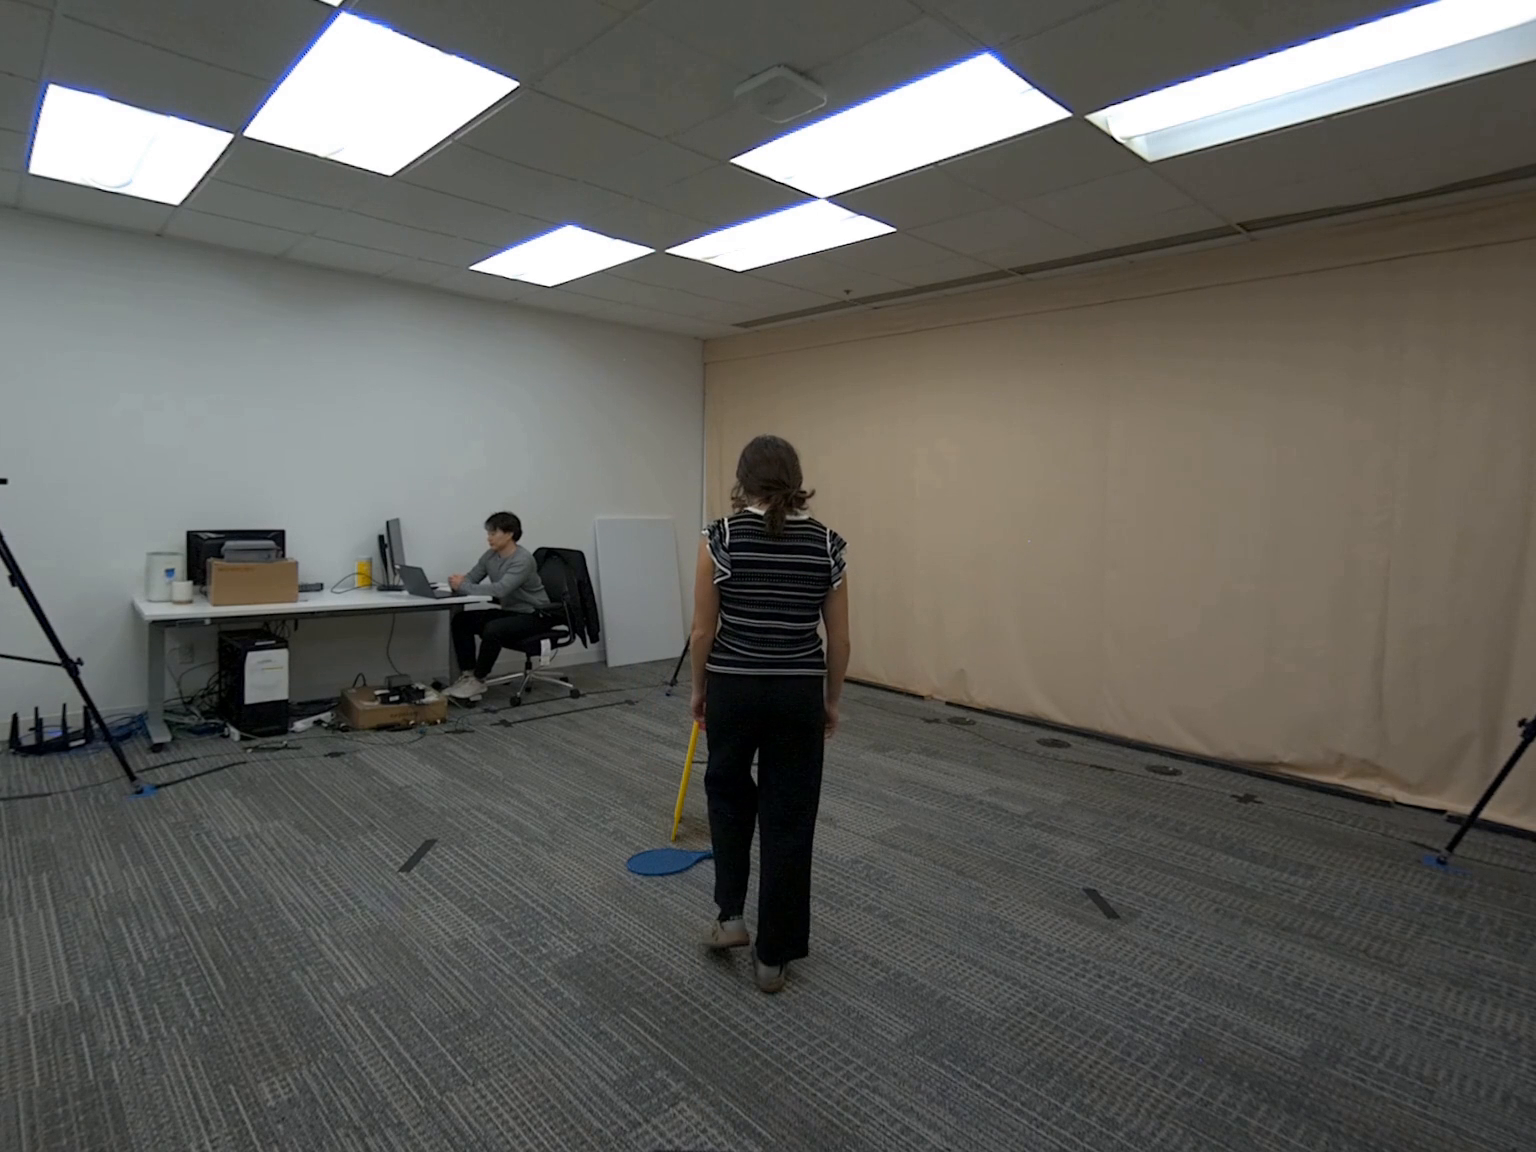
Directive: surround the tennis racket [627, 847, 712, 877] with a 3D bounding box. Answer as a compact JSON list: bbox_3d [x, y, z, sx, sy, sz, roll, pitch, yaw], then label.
[{"bbox_3d":[-0.332,1.074,3.217,0.427,0.031,0.217,-2,6,-19],"label":"tennis racket"}]
